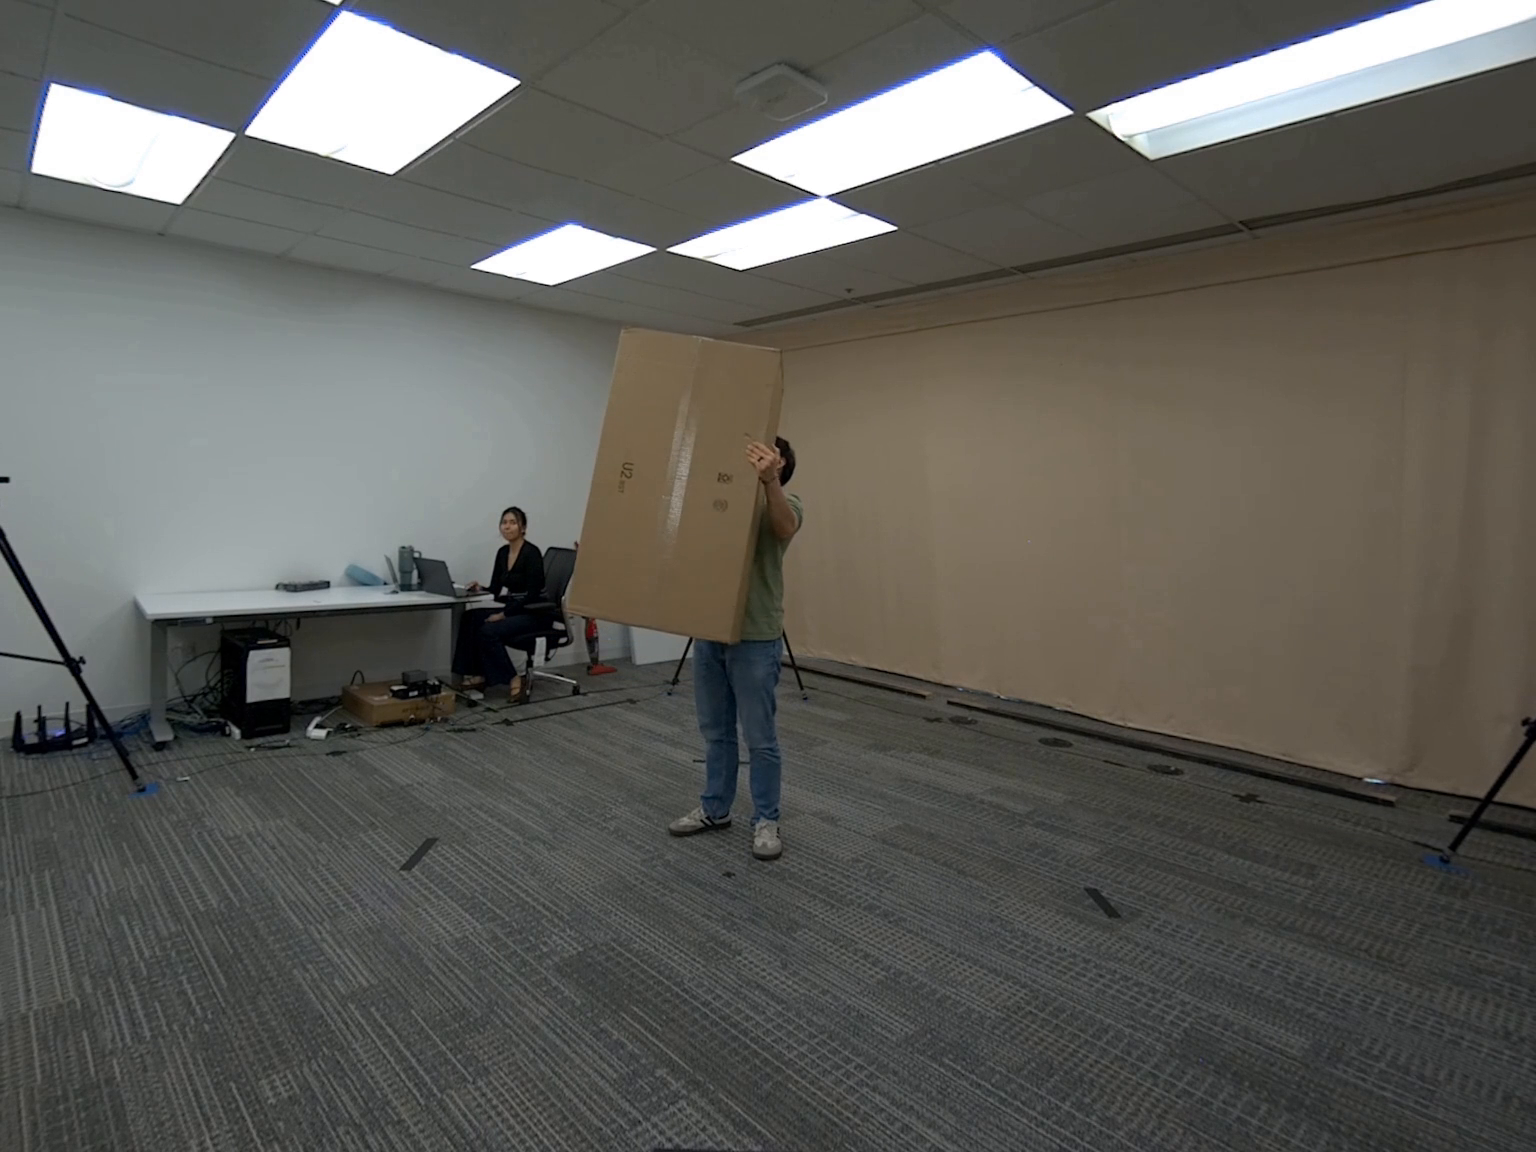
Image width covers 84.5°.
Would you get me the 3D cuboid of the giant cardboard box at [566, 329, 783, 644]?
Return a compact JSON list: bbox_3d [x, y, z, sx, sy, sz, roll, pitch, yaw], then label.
[{"bbox_3d":[-0.318,-0.310,3.071,0.580,1.030,0.423,10,-6,4],"label":"giant cardboard box"}]
